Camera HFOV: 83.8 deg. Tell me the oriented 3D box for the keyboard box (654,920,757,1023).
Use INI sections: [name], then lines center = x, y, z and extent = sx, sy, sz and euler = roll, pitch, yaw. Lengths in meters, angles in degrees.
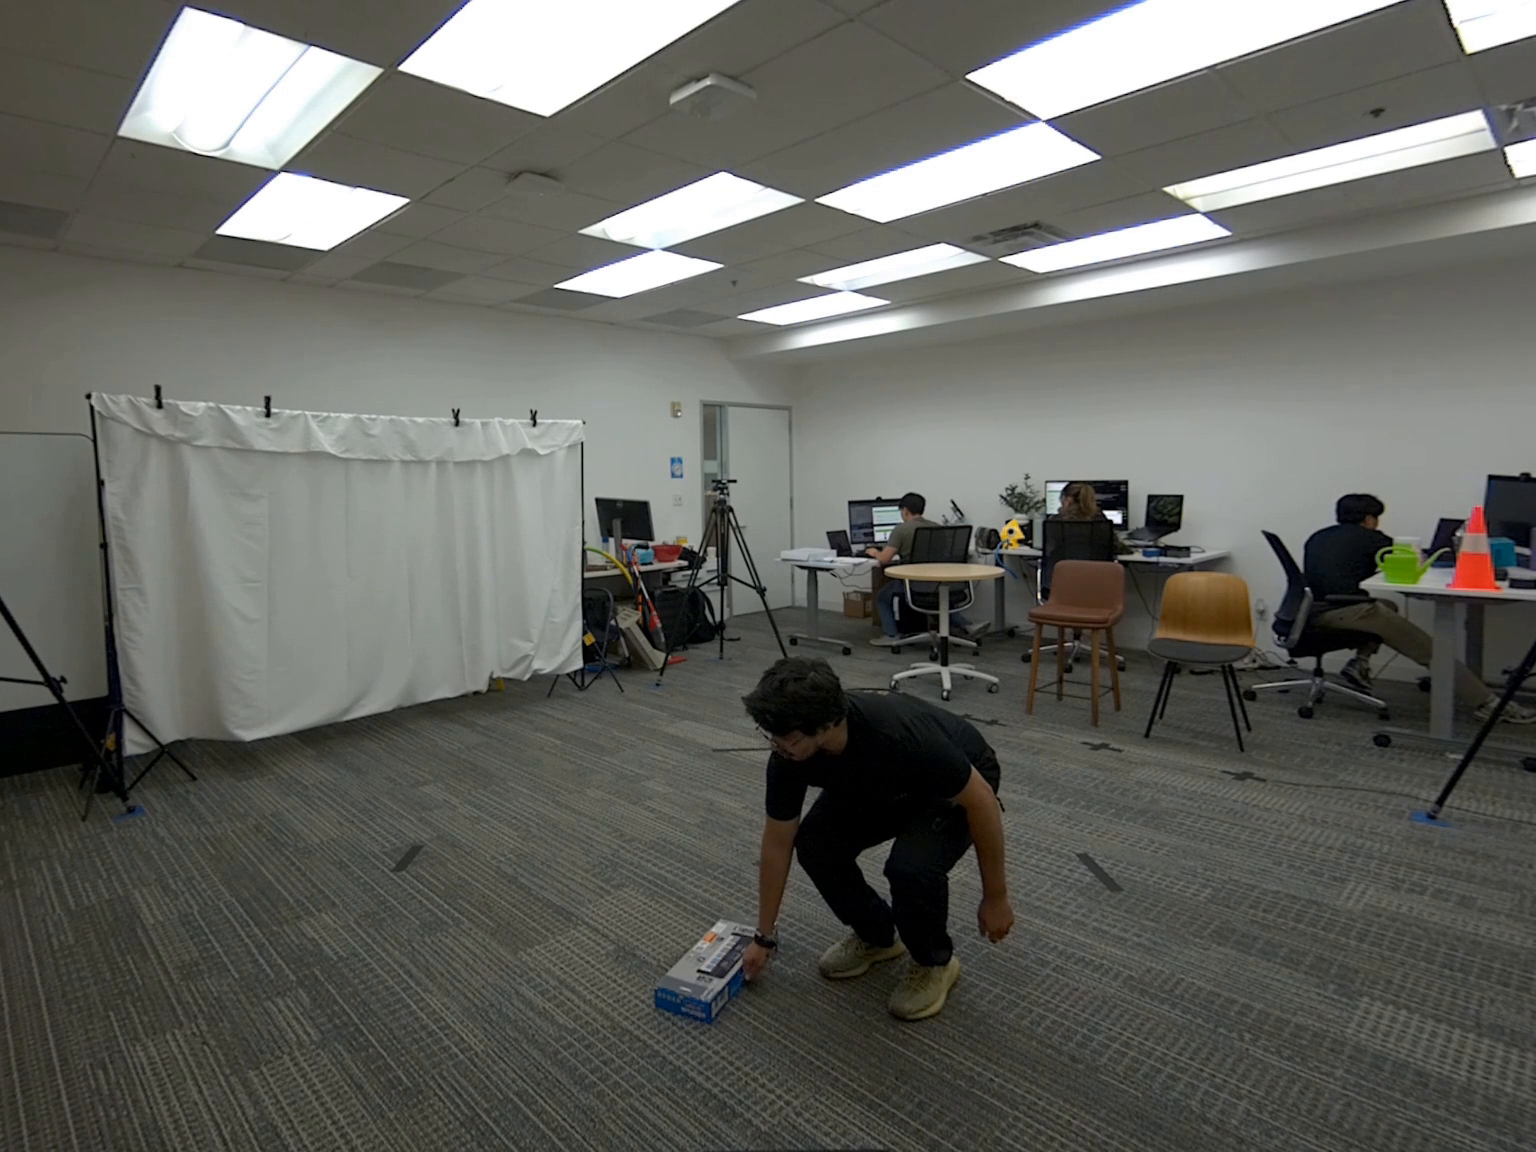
[keyboard box]
center = -0.133, 1.098, 2.429
extent = 0.180, 0.059, 0.428
euler = 0, 6, 25
